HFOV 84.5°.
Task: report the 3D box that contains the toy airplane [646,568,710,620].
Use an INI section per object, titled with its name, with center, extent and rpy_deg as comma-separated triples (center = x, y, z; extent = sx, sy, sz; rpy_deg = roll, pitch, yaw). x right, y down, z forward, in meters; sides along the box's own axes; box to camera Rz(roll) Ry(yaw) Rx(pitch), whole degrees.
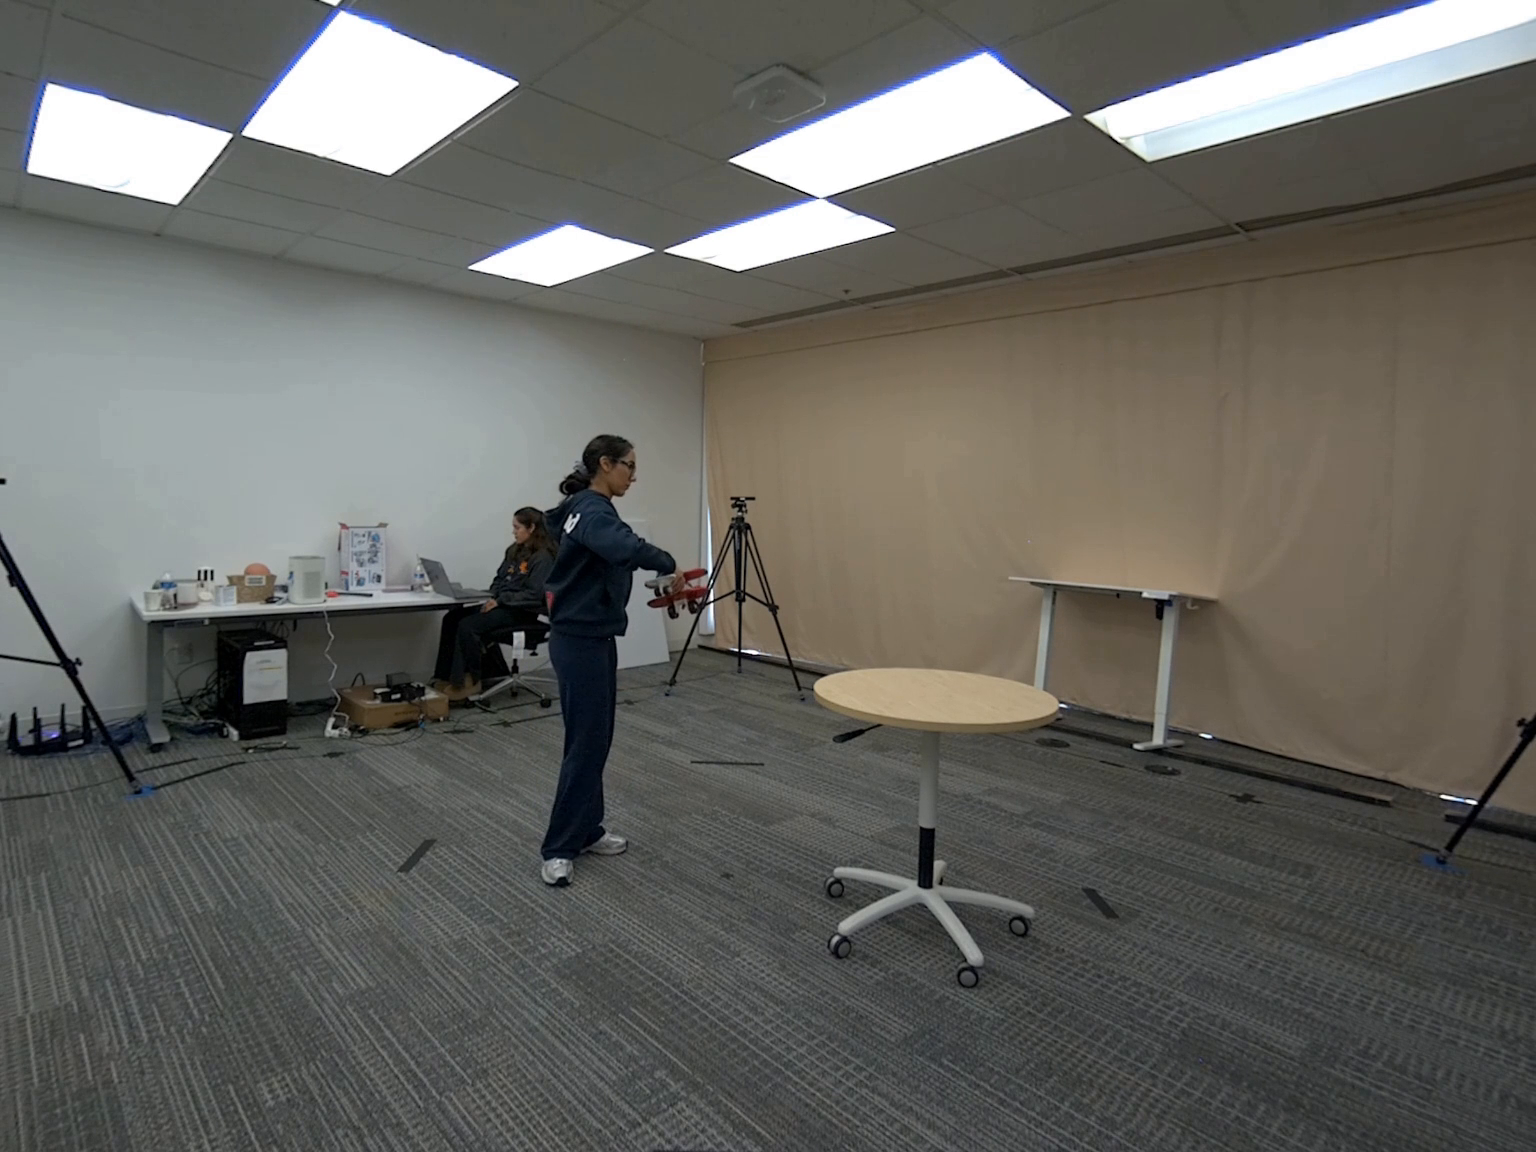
[toy airplane]
center = -0.351, 0.044, 3.183
extent = 0.249, 0.160, 0.255
rpy_deg = 0, -33, -9
